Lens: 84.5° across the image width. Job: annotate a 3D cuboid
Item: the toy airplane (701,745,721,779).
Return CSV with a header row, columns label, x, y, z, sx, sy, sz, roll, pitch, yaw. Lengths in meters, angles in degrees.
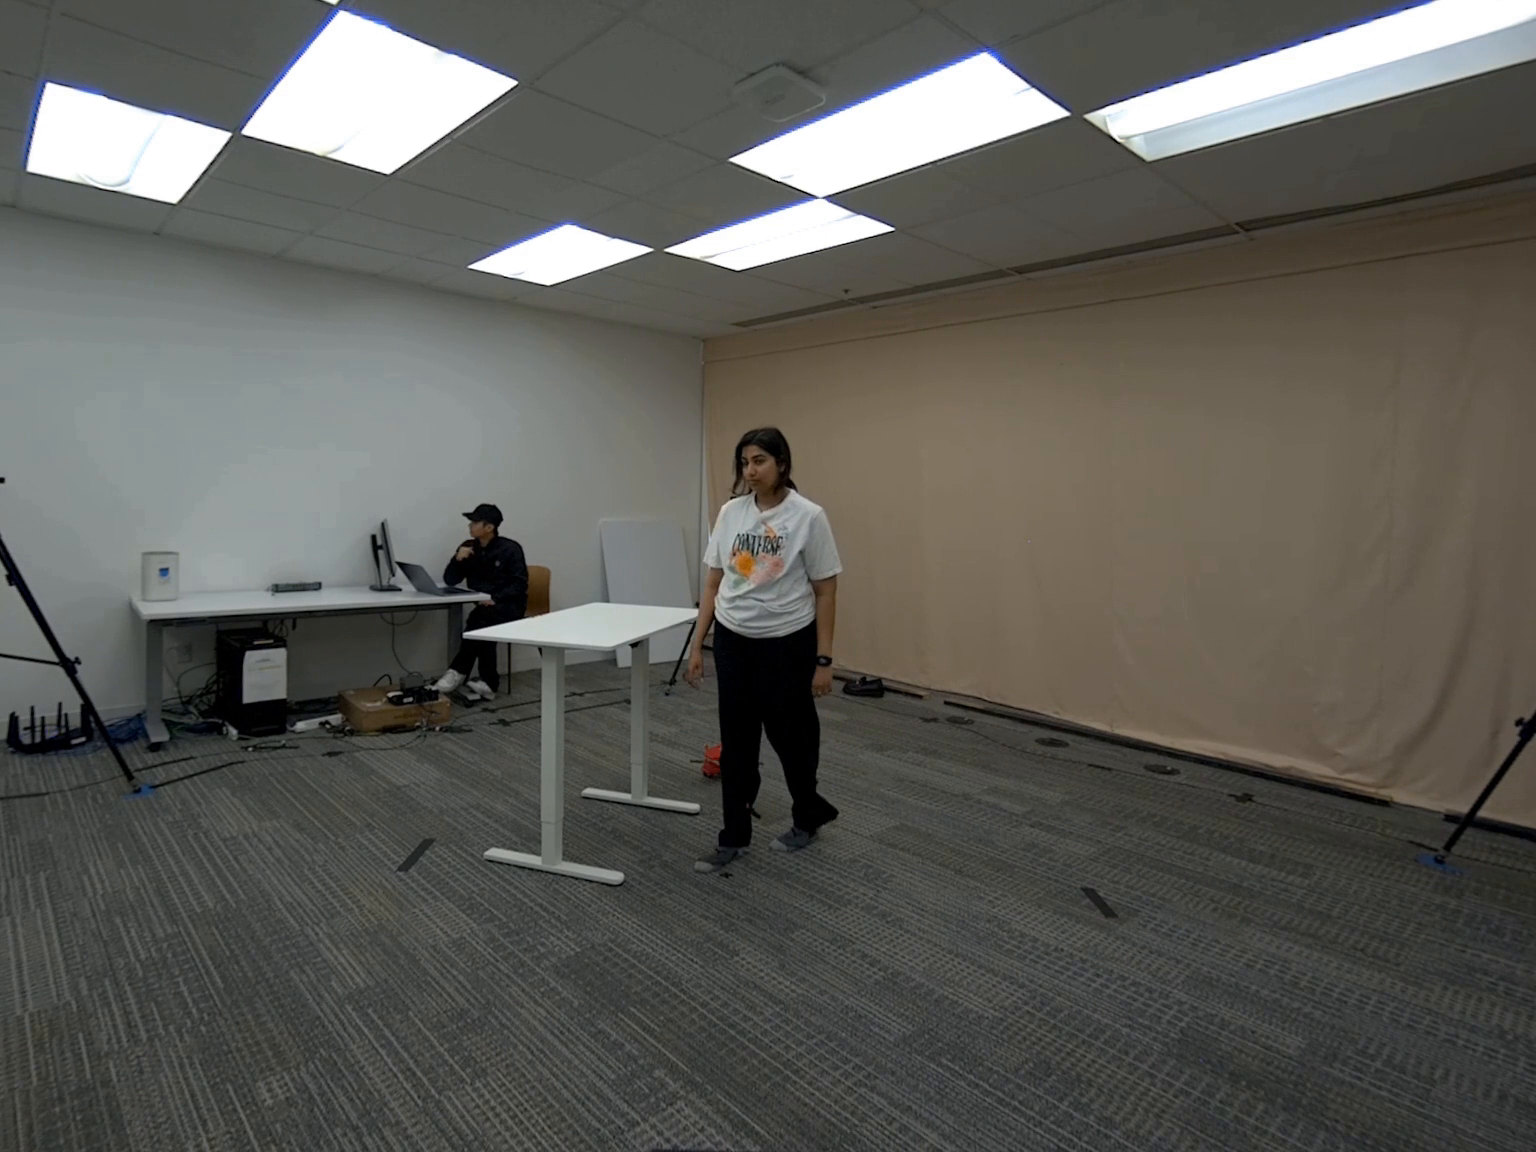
label,x,y,z,sx,sy,sz,roll,pitch,yaw
toy airplane,-0.210,0.936,4.213,0.261,0.156,0.250,2,4,6
